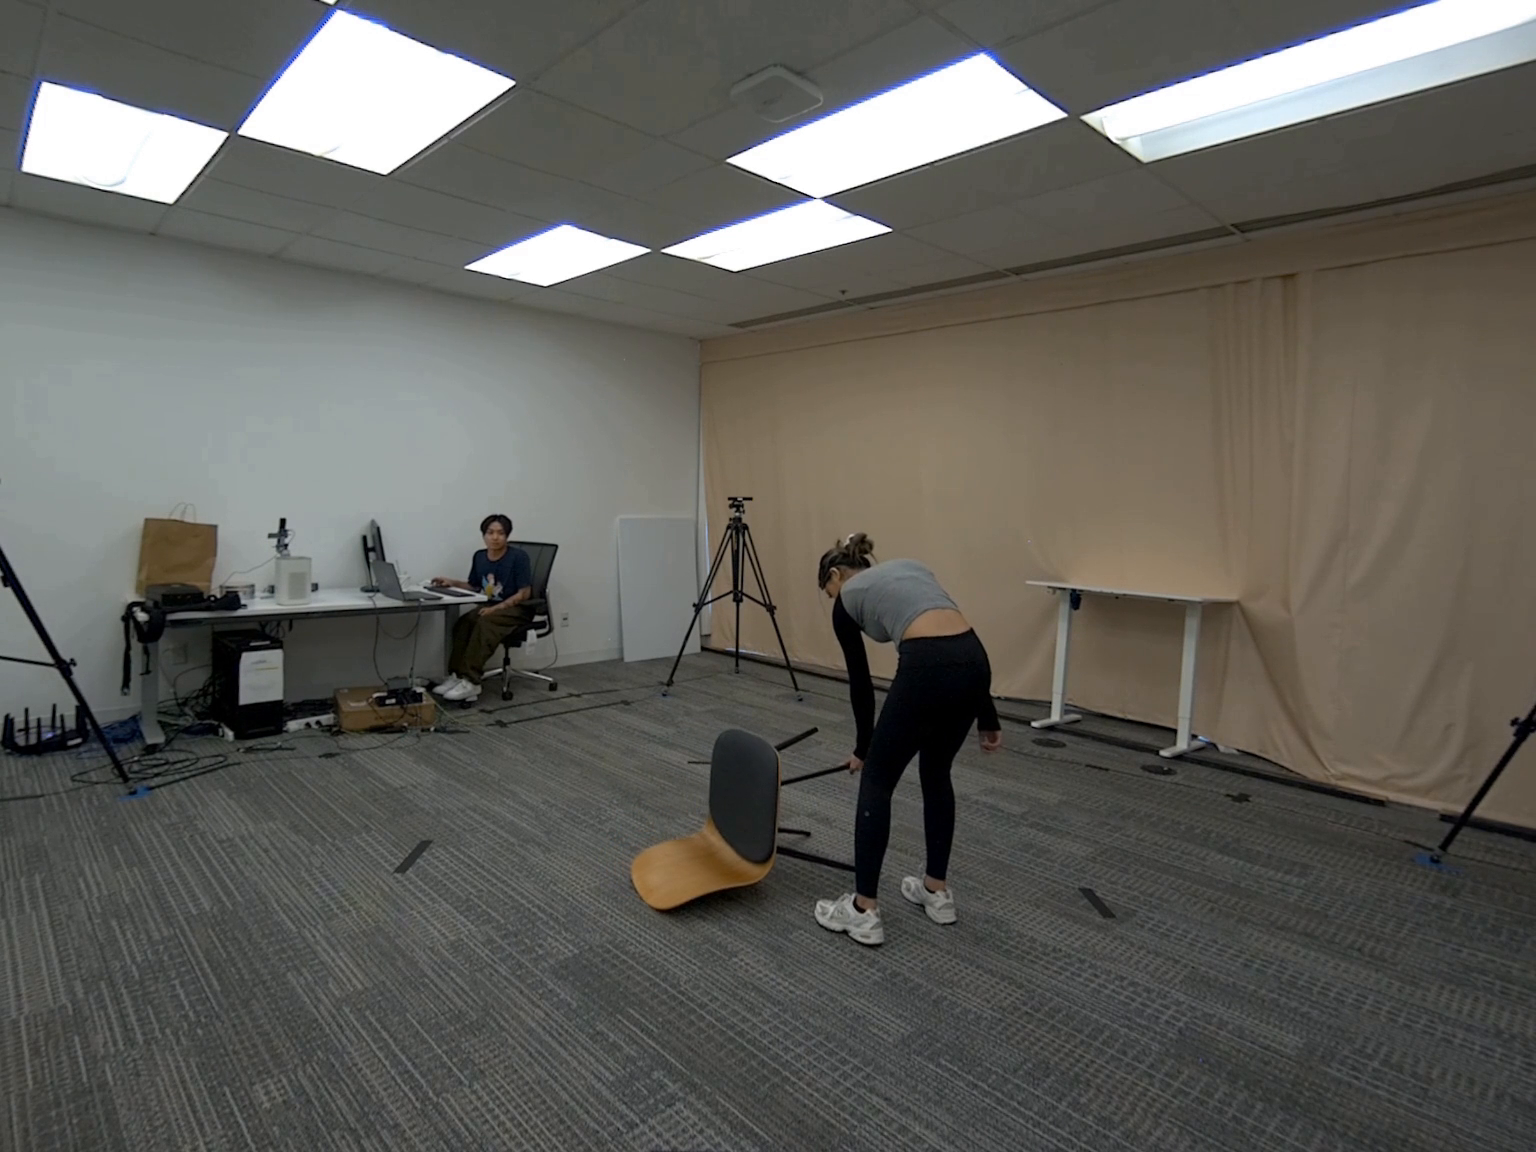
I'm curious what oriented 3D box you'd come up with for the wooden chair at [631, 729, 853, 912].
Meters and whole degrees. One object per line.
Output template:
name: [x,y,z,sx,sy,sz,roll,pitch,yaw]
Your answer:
wooden chair: [-0.063,0.852,3.102,0.860,0.521,0.489,-2,5,-30]
